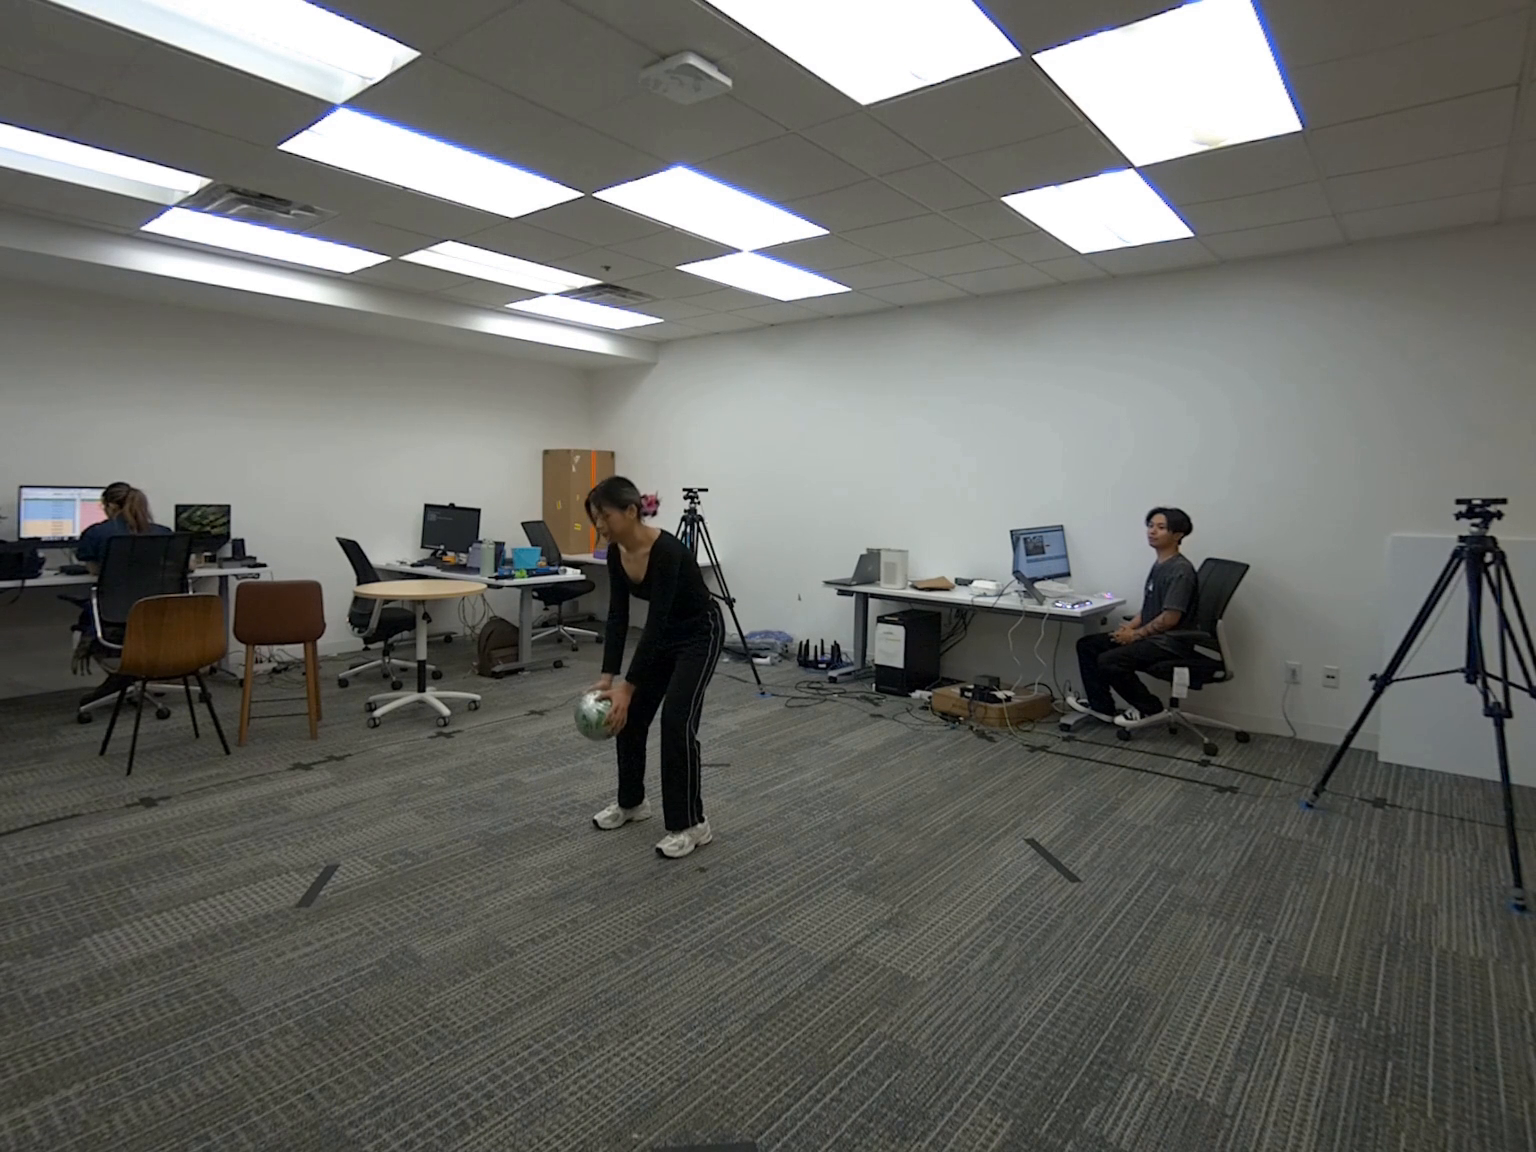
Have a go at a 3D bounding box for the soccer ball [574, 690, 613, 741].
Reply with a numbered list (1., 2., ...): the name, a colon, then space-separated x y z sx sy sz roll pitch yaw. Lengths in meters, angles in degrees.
1. soccer ball: -0.645 0.505 3.184 0.187 0.187 0.188 1 4 -2
